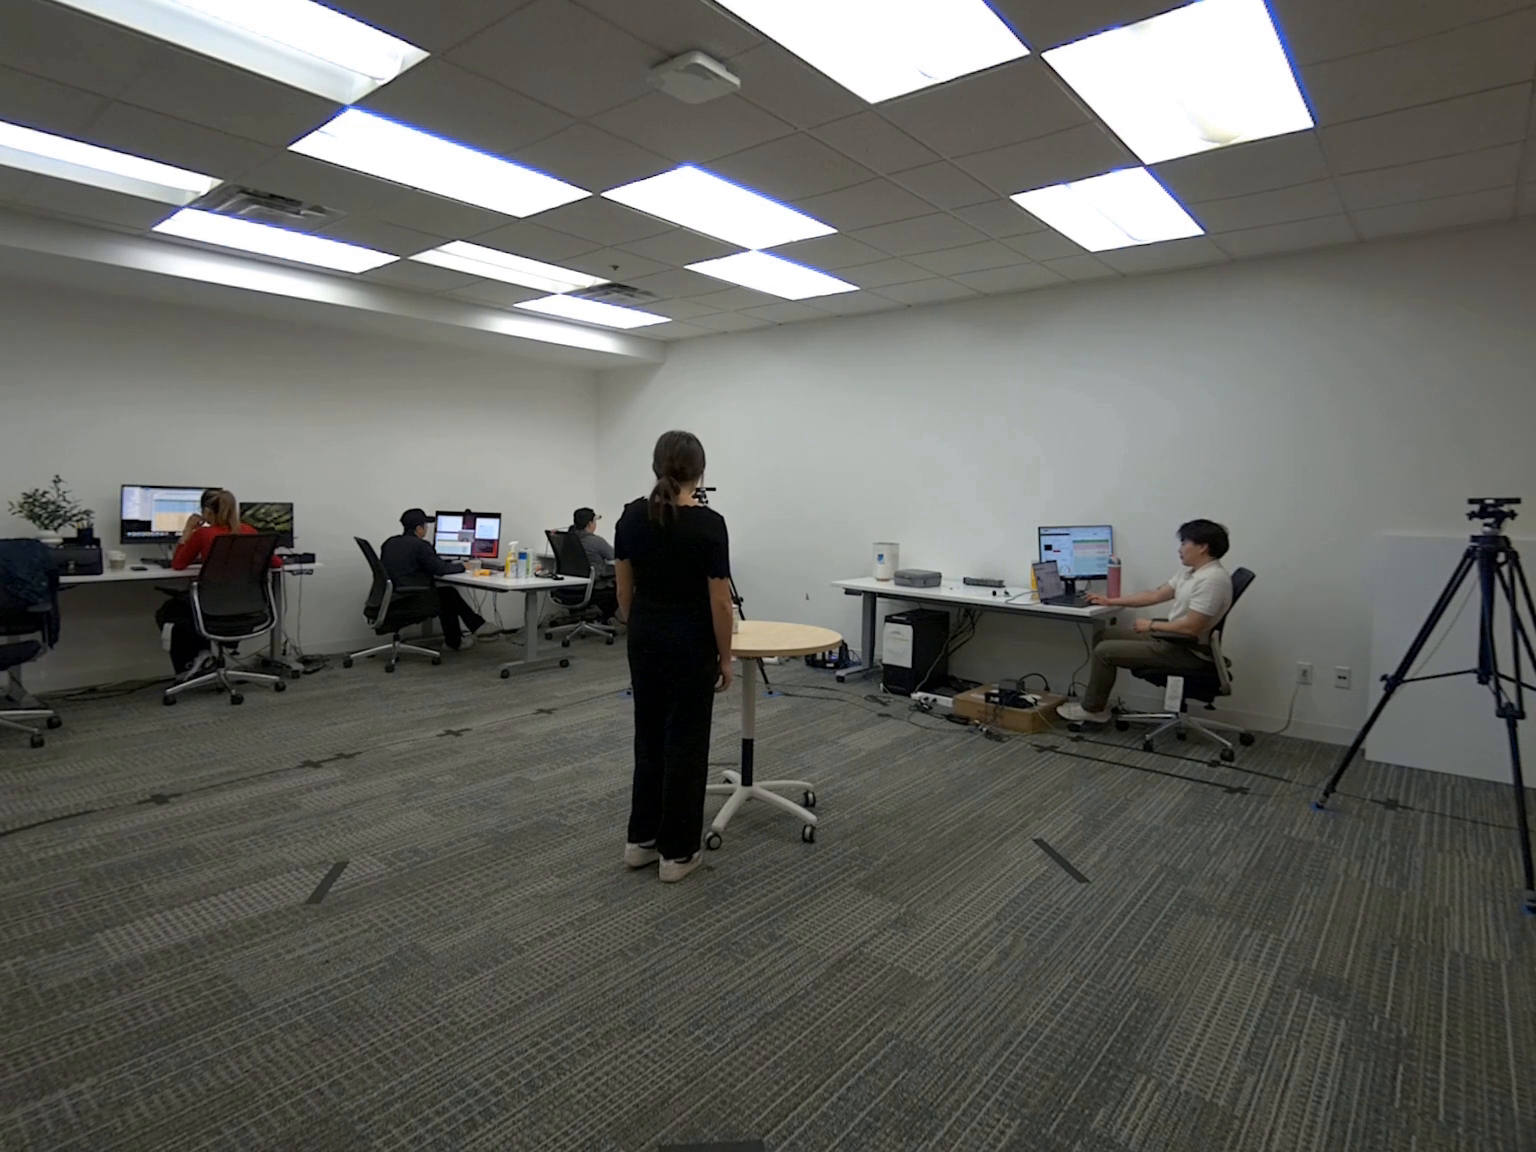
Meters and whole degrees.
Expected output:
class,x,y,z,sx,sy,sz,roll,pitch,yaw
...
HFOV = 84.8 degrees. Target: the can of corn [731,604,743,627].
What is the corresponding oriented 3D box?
class,x,y,z,sx,sy,sz,roll,pitch,yaw
can of corn,-0.174,0.178,3.597,0.074,0.111,0.074,2,2,-2
